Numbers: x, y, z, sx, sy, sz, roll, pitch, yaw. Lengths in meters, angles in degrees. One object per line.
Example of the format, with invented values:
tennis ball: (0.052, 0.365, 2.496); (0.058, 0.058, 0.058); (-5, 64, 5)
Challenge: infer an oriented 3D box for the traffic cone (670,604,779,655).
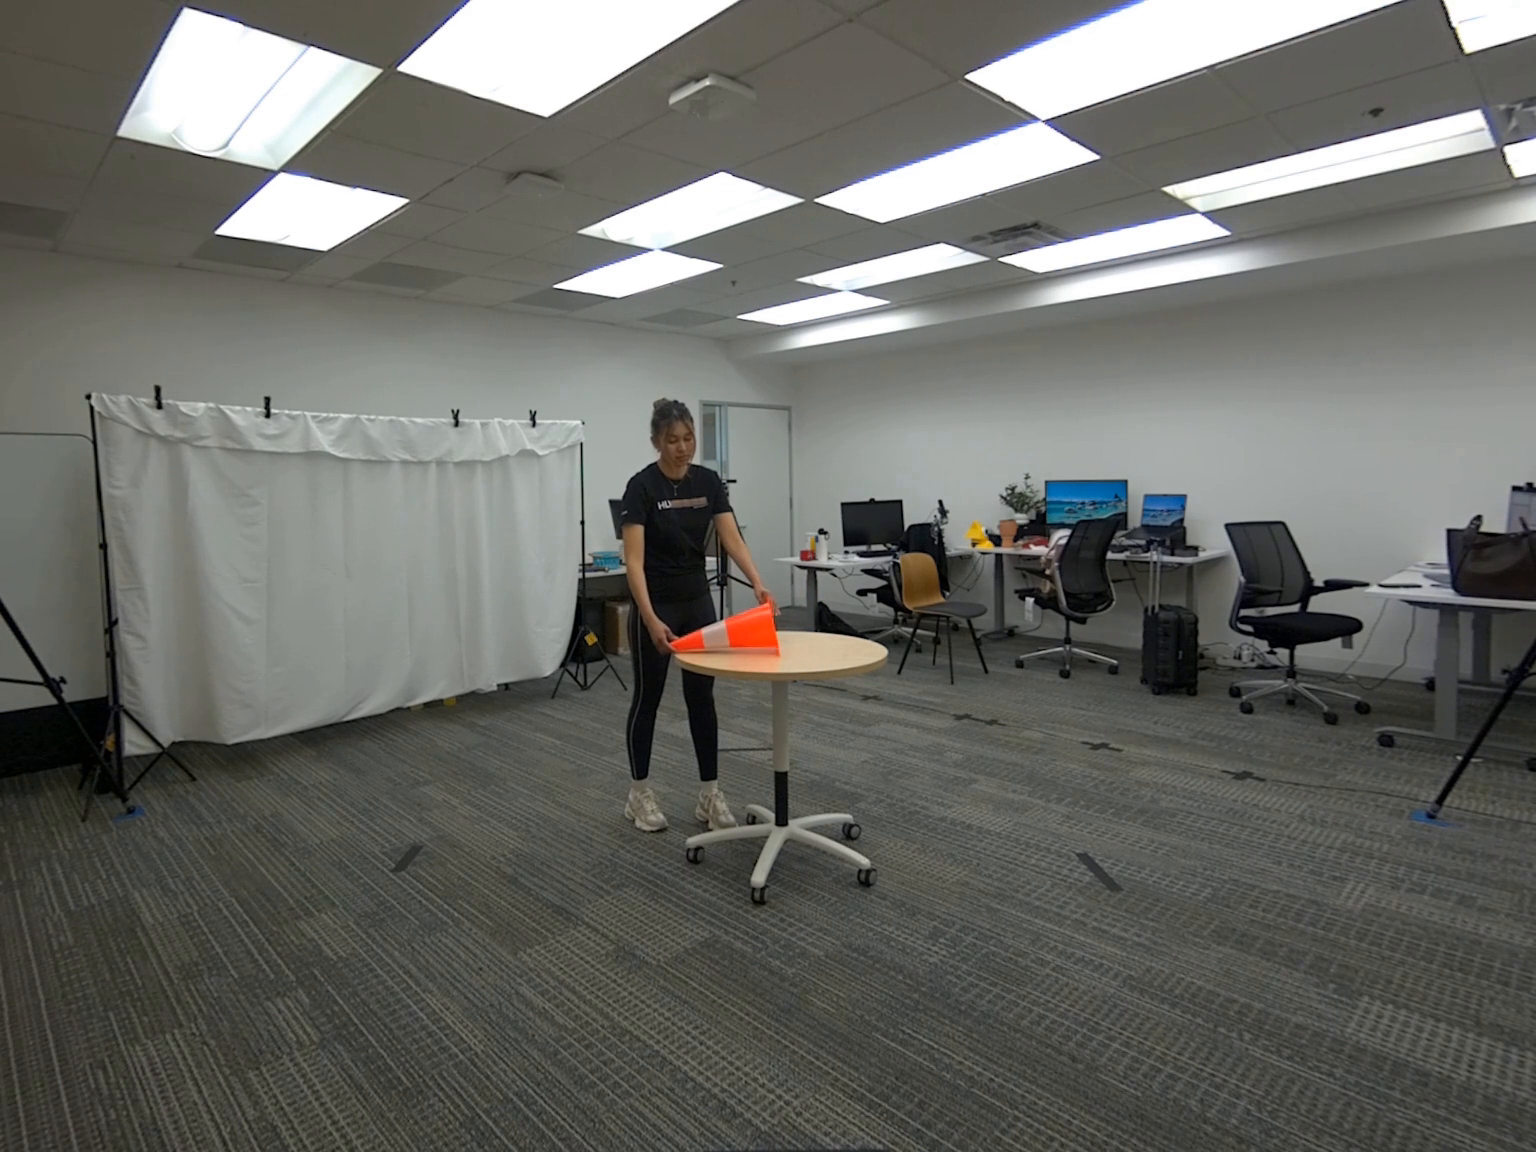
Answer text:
traffic cone: (-0.162, 0.221, 3.046); (0.384, 0.203, 0.205); (-15, 7, 1)
